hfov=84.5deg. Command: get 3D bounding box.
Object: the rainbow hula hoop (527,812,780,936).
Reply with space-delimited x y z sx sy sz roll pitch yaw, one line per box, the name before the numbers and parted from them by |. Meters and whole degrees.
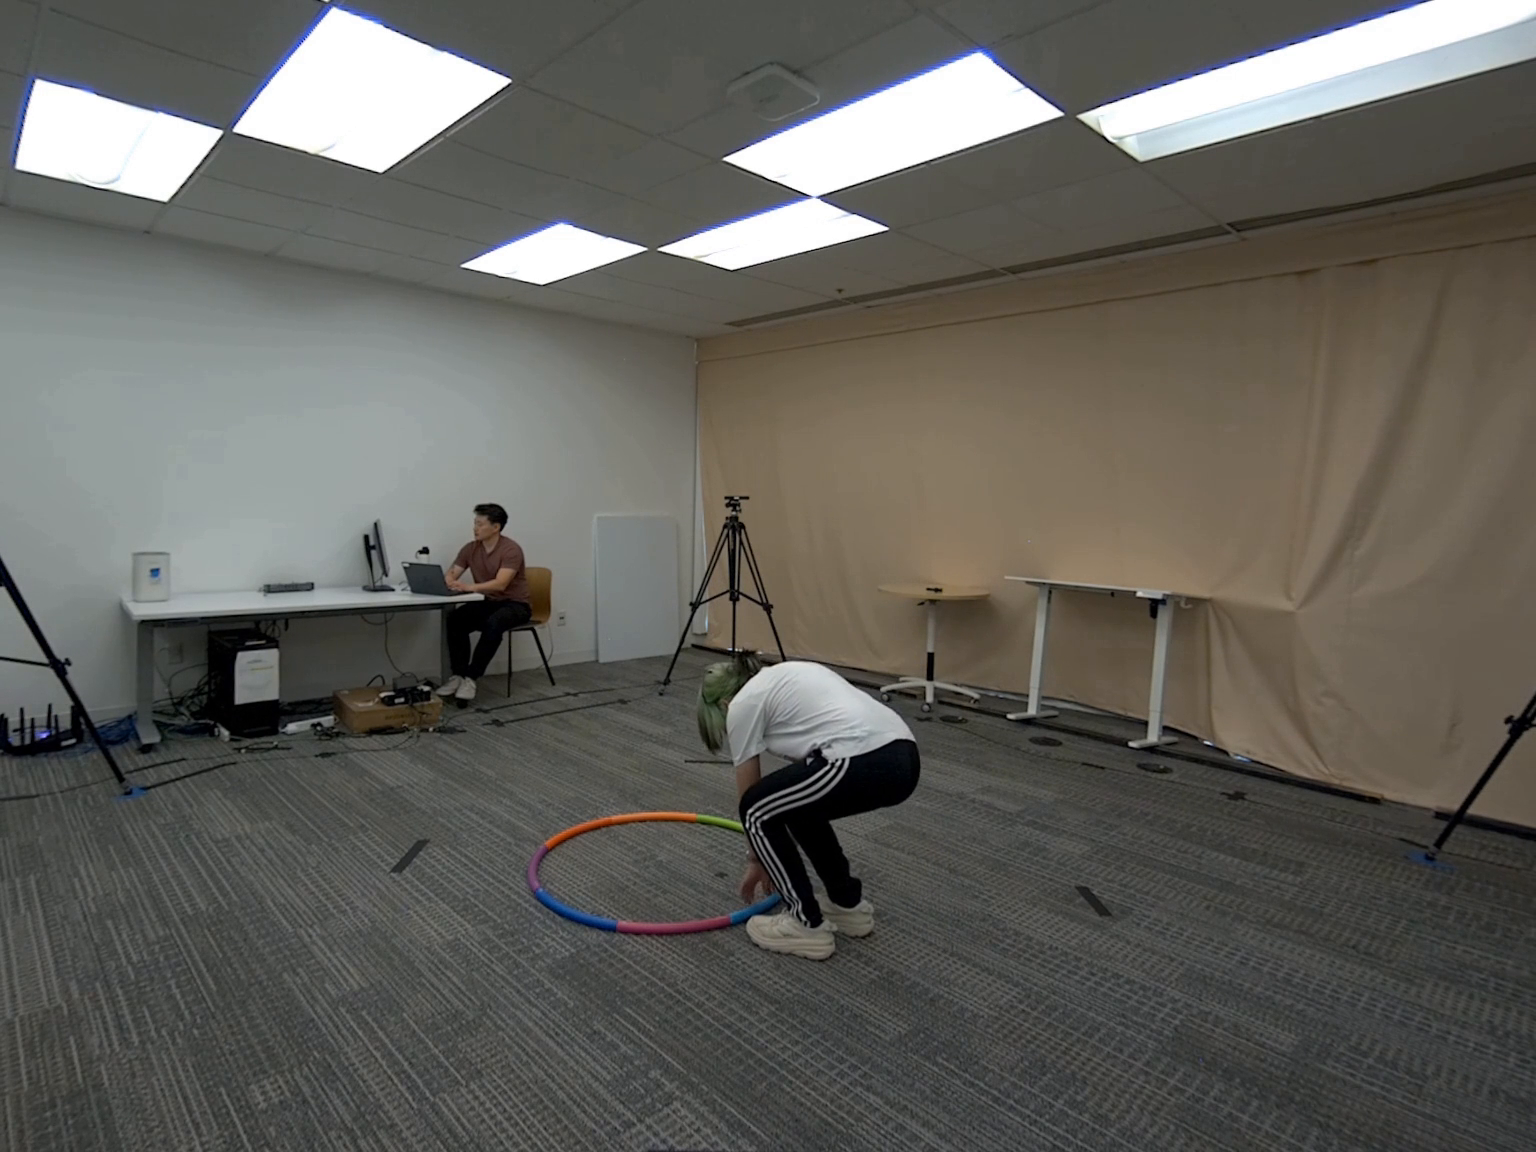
rainbow hula hoop | -0.395 1.064 3.149 0.978 0.035 0.982 1 5 -1
